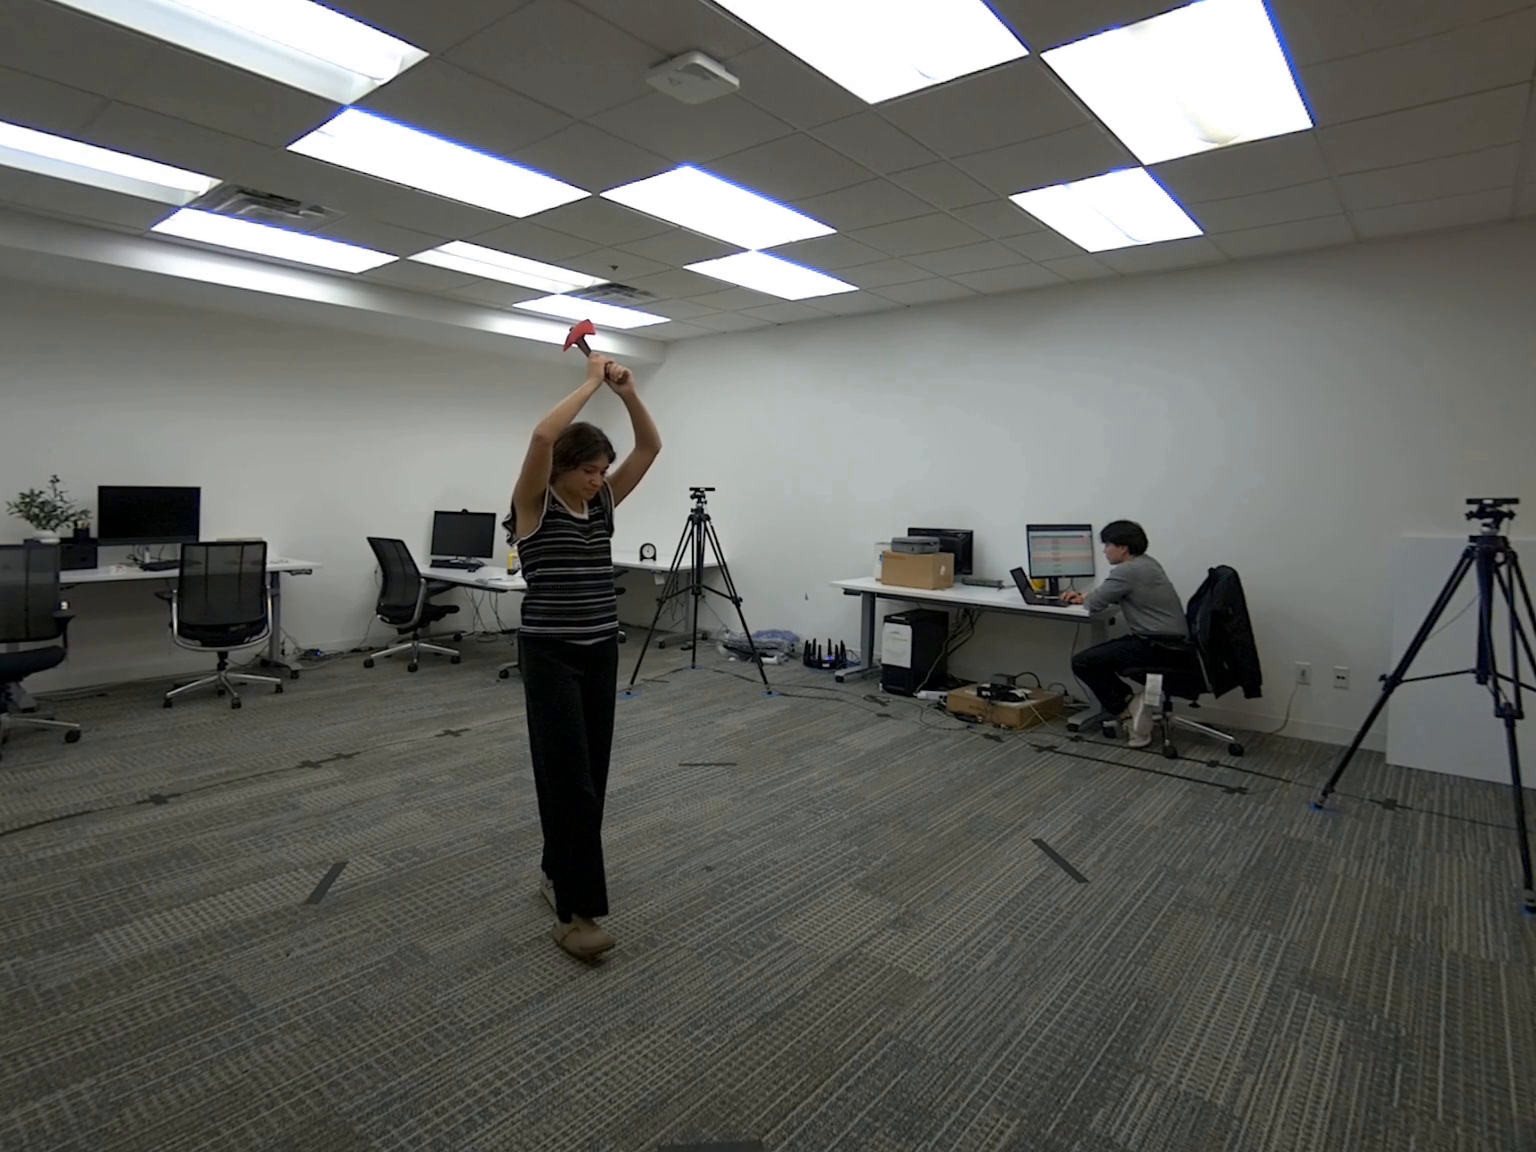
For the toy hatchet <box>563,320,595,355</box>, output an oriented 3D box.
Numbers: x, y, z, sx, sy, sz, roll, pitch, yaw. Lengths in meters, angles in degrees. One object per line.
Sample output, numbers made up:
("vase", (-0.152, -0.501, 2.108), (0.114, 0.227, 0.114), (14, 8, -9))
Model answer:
("toy hatchet", (-0.529, -0.705, 2.624), (0.278, 0.130, 0.029), (32, 11, 22))
